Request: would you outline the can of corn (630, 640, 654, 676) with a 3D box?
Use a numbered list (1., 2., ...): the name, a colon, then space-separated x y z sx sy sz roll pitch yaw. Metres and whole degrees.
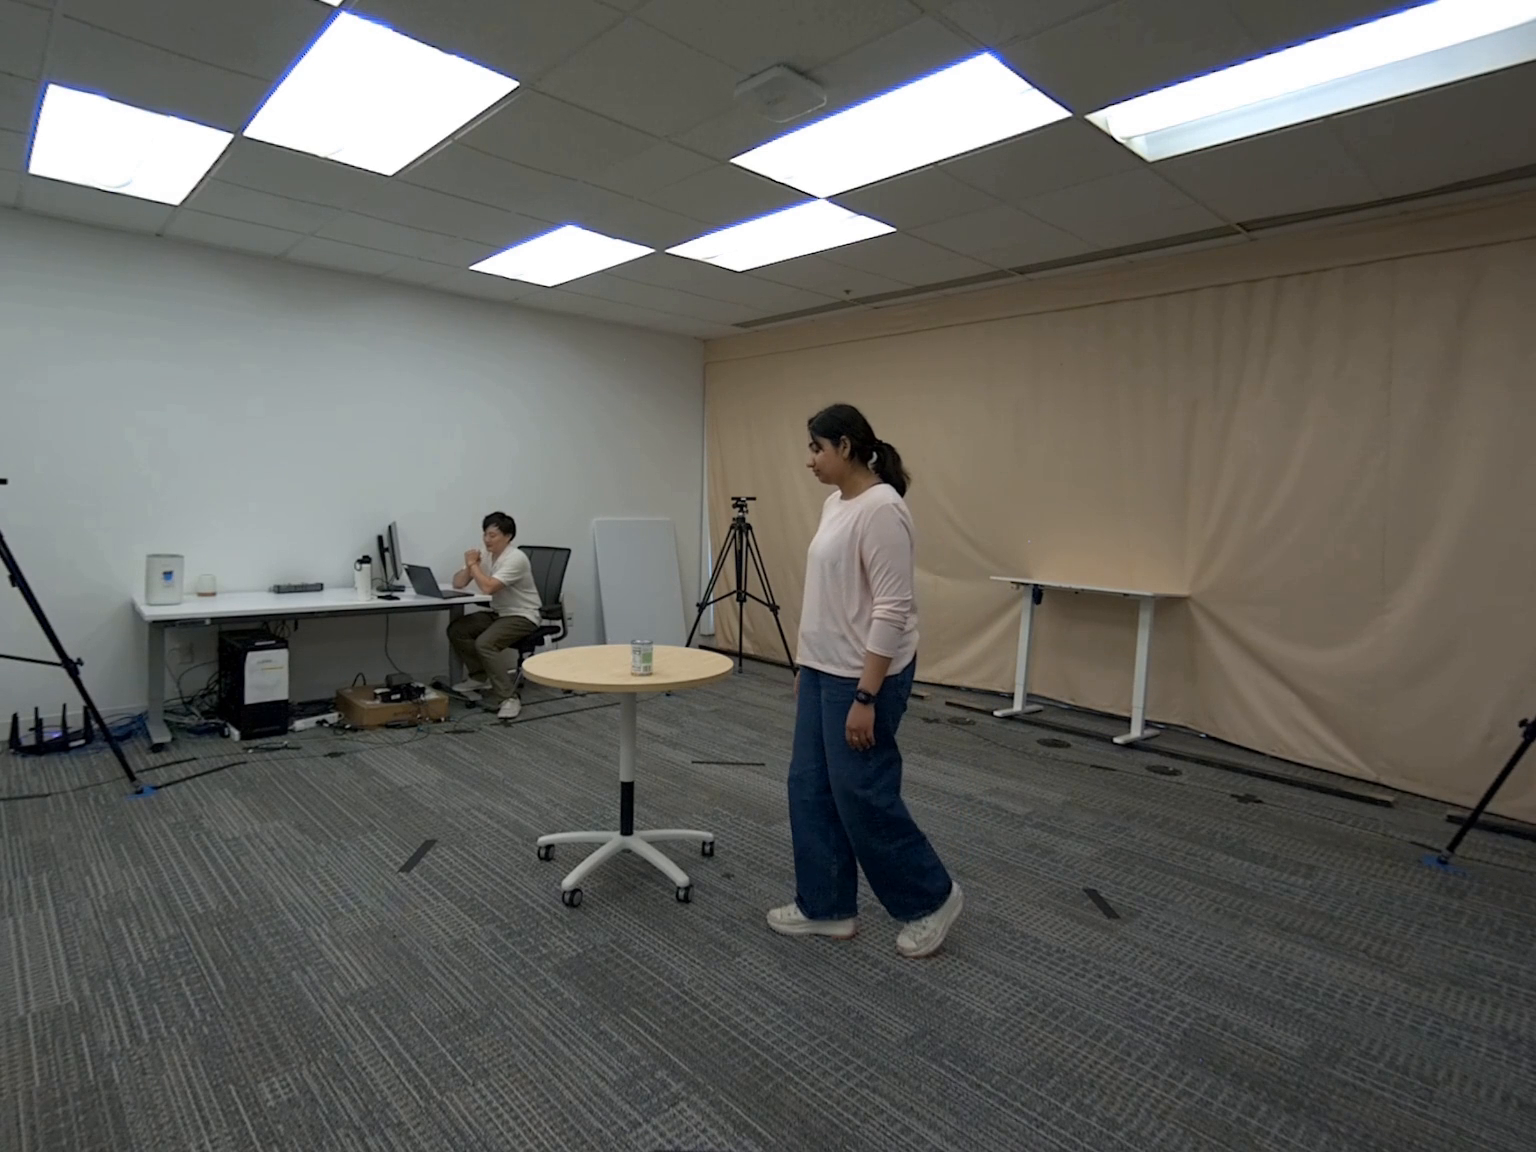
1. can of corn: -0.429 0.278 2.870 0.074 0.110 0.075 4 8 -2
